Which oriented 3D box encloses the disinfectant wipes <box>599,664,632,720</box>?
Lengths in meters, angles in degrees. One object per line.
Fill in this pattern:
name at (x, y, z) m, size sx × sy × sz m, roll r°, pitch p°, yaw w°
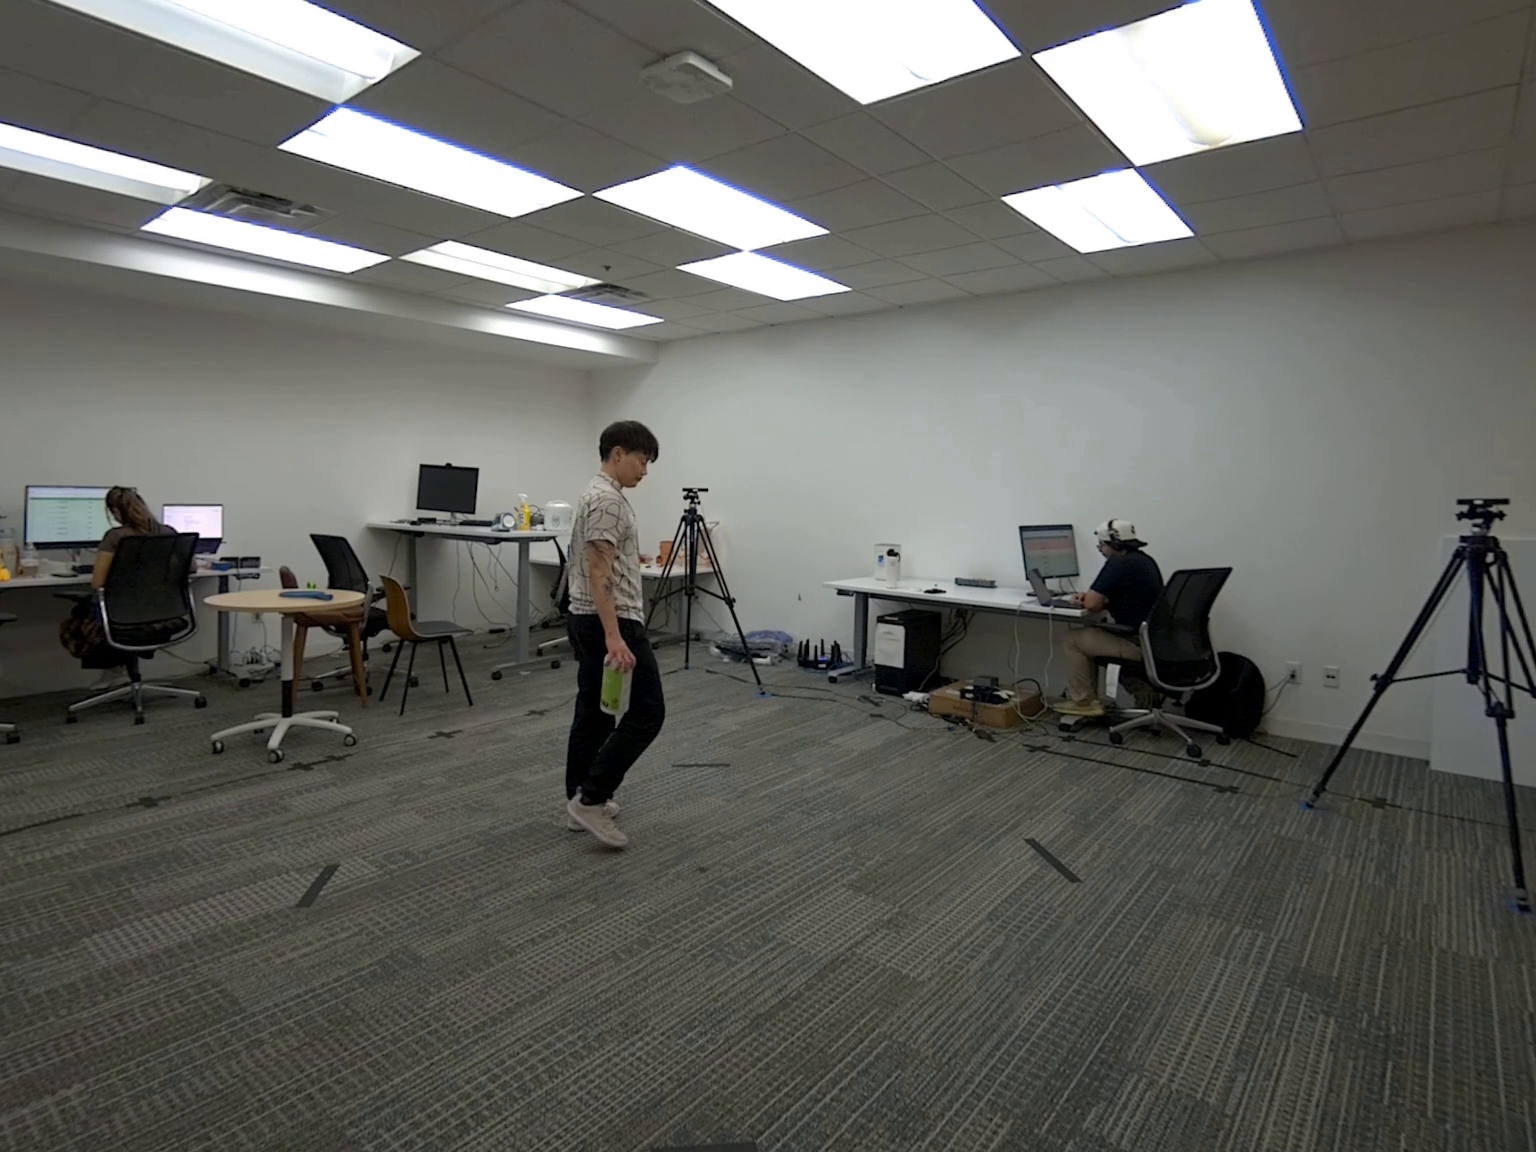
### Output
disinfectant wipes at (-0.586, 0.408, 3.225) m, size 0.117 × 0.214 × 0.120 m, roll 6°, pitch 17°, yaw -4°
